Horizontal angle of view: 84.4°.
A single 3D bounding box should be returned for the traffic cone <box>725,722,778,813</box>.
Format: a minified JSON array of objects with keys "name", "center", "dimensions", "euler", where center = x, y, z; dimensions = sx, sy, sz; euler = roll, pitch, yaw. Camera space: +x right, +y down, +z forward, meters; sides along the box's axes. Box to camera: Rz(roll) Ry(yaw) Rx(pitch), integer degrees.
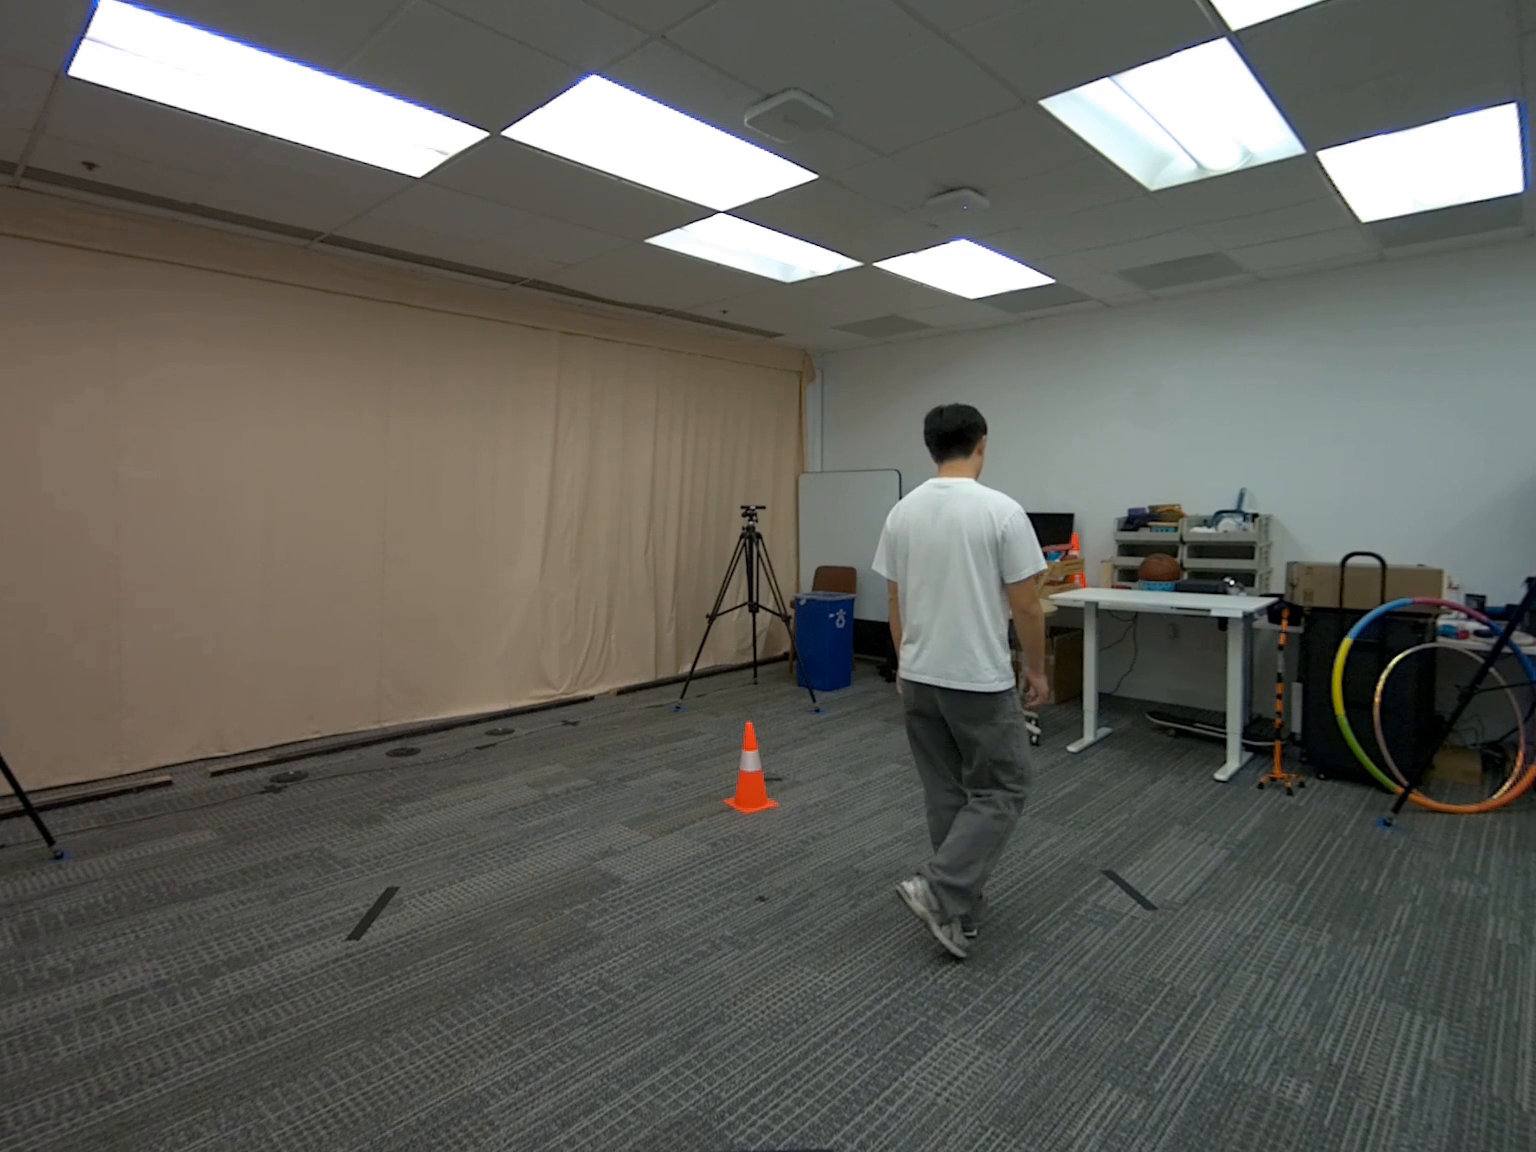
[{"name":"traffic cone","center":[-0.081,0.881,3.958],"dimensions":[0.197,0.383,0.211],"euler":[-3,3,-40]}]
